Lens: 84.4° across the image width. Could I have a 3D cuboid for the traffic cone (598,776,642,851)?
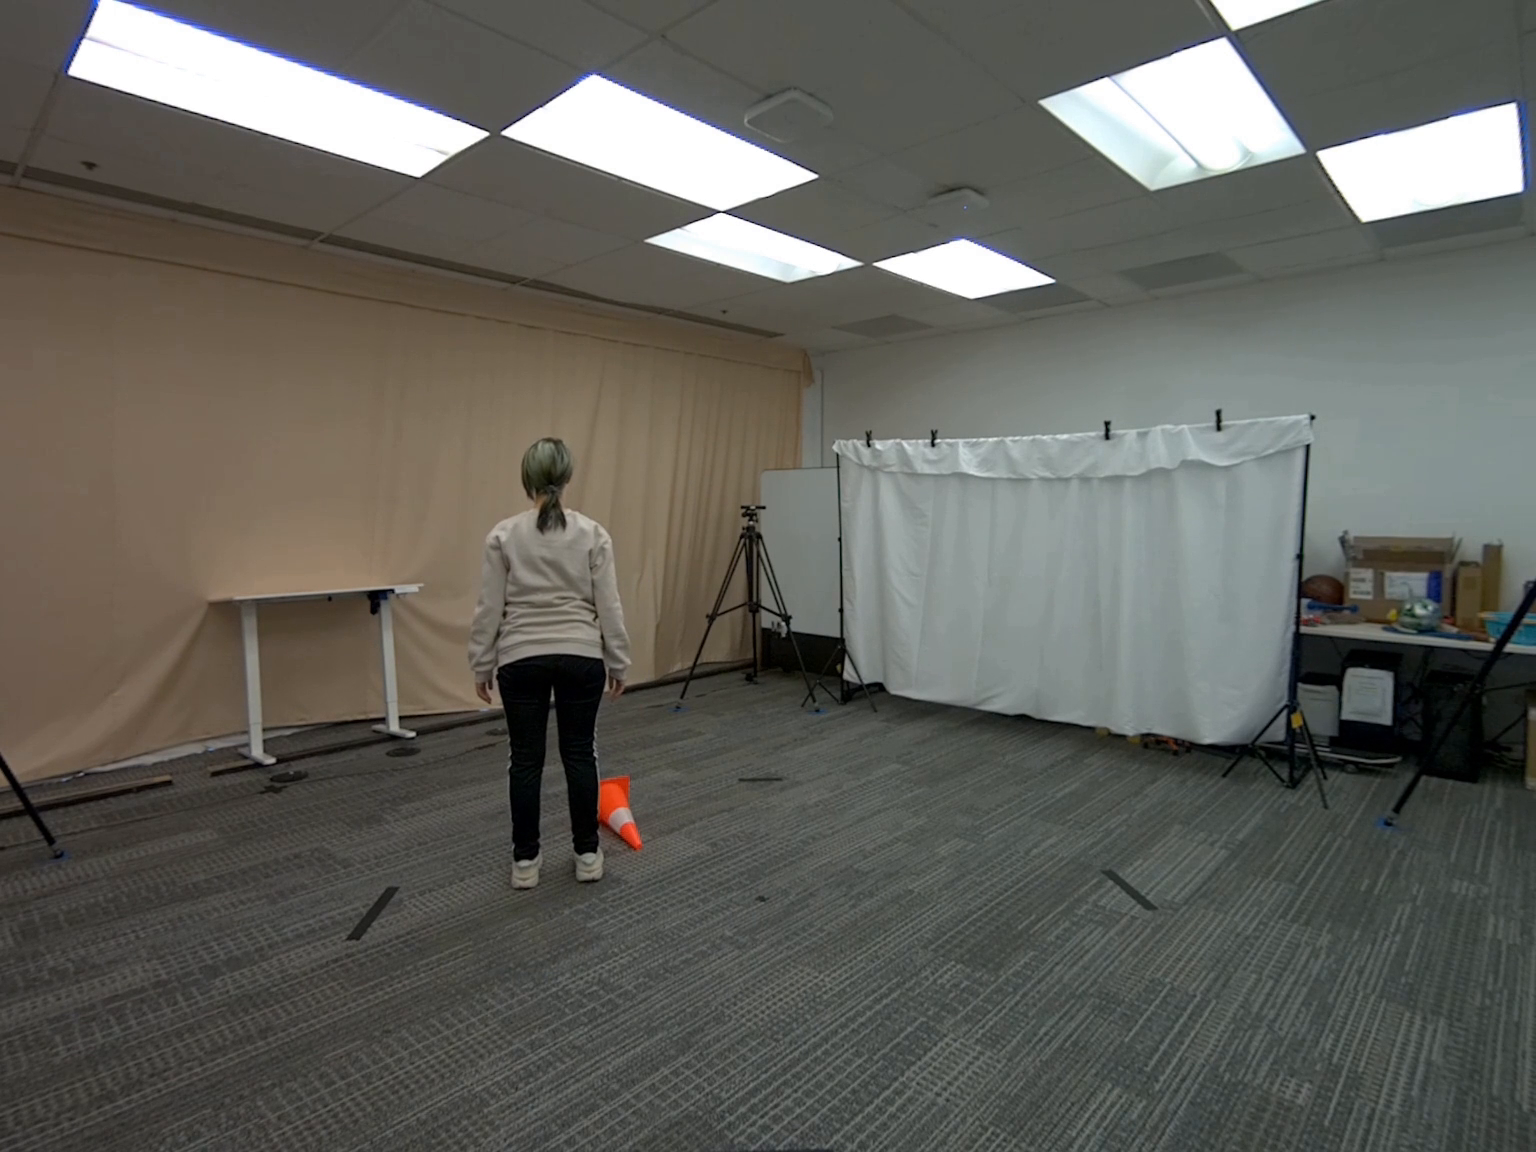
[{"bbox_3d":[-0.620,1.045,3.581,0.198,0.203,0.397,-3,17,-30],"label":"traffic cone"}]
